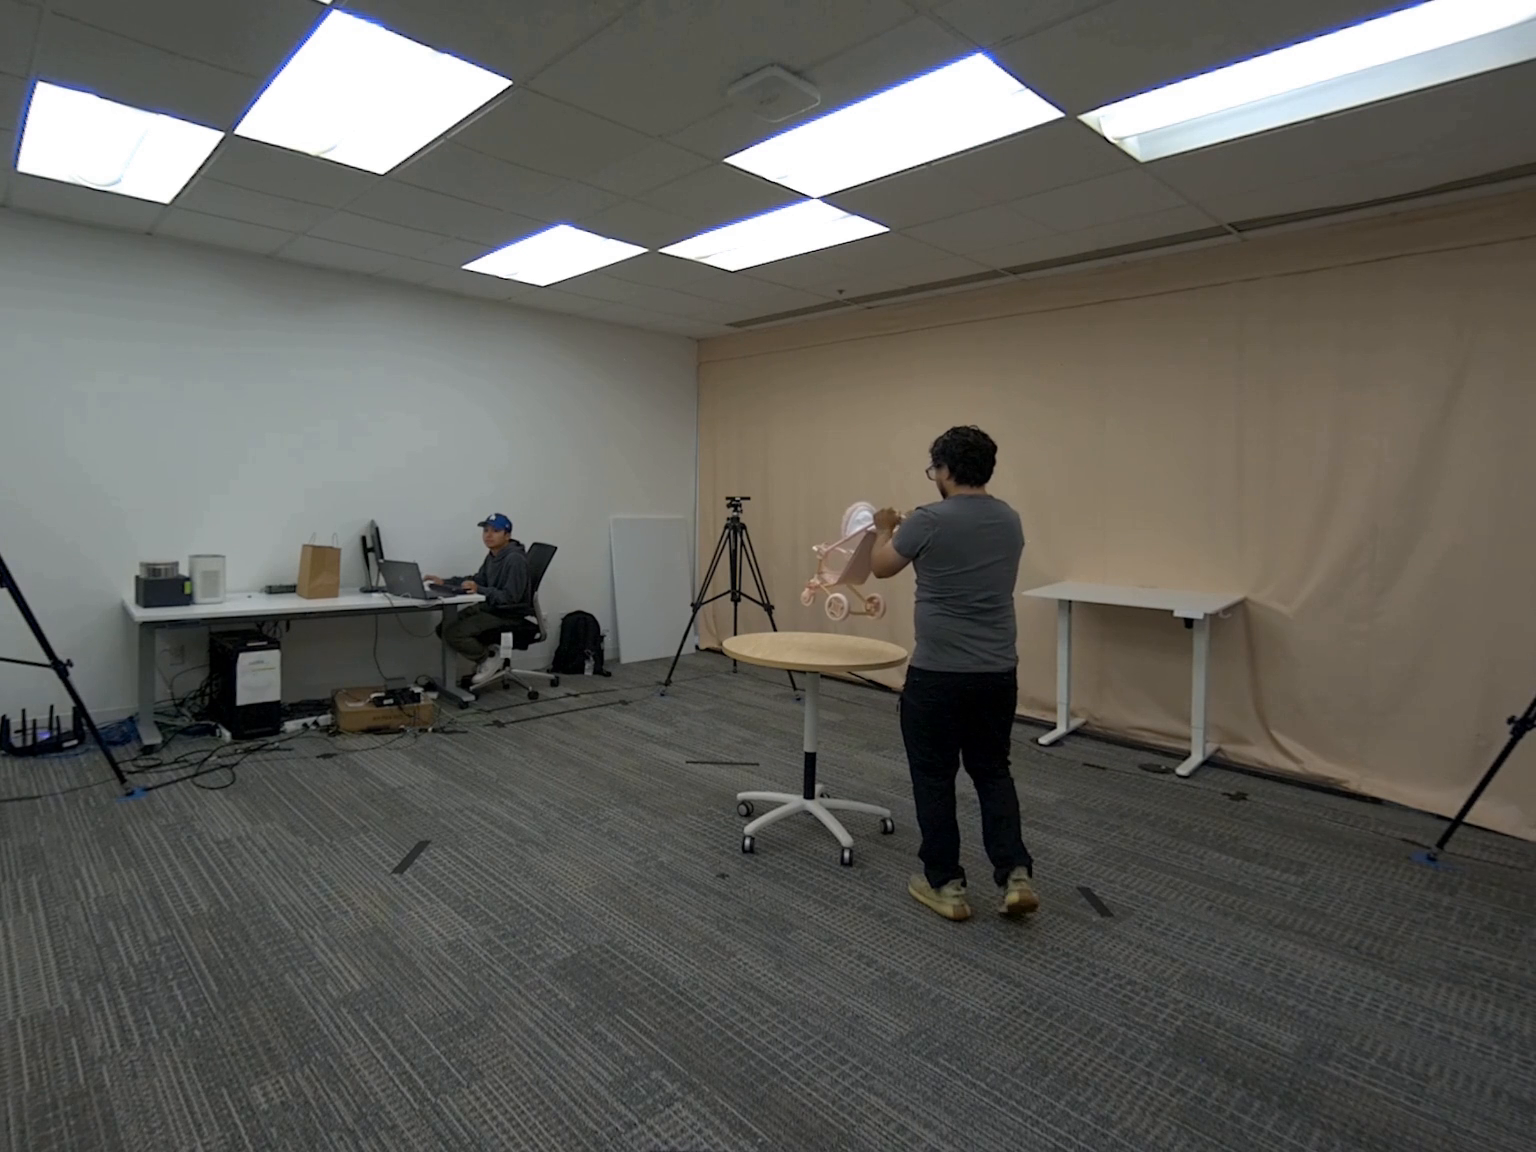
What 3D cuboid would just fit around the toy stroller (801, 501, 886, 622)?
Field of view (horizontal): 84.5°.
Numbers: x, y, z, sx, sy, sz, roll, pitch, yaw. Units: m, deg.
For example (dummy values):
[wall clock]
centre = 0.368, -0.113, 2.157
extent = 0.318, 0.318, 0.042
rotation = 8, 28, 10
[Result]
[toy stroller]
centre = 0.339, -0.058, 3.392
extent = 0.274, 0.531, 0.352
rotation = 4, 21, -42
